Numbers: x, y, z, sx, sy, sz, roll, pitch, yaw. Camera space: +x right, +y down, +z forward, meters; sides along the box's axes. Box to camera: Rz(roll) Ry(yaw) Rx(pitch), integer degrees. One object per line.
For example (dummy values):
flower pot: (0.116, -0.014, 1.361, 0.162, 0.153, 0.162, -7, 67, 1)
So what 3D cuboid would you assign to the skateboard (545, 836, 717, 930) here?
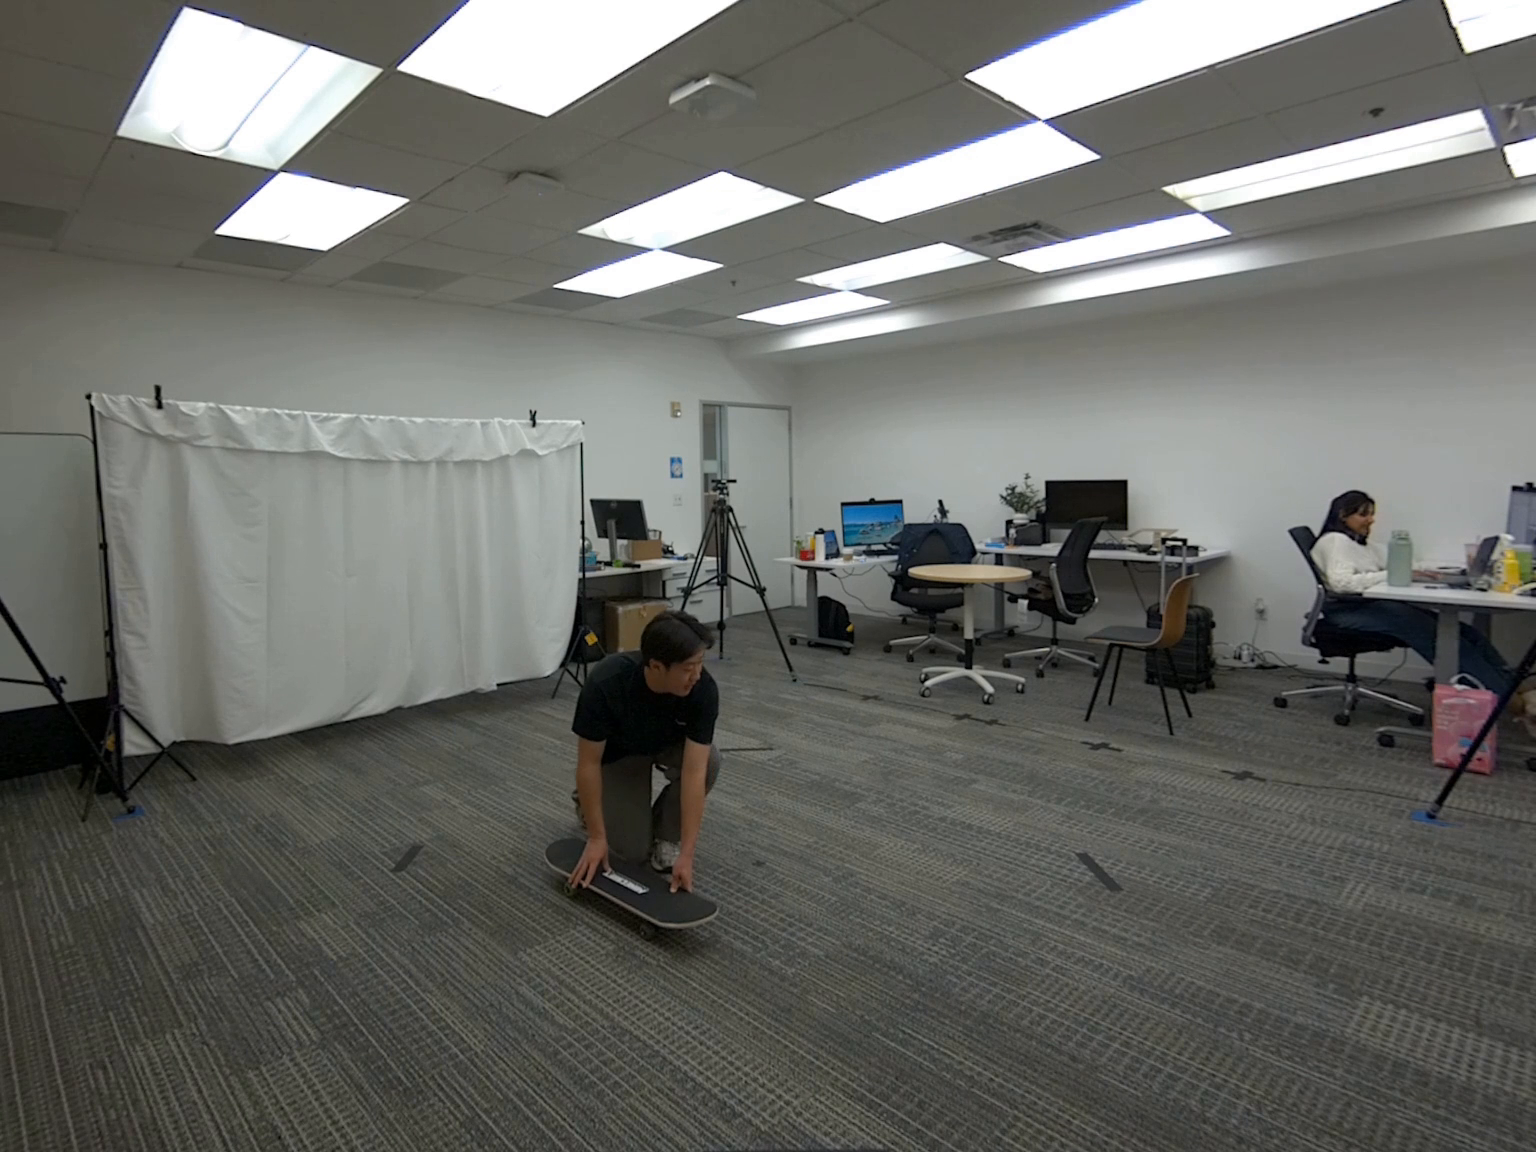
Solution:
skateboard: (-0.451, 1.034, 2.808, 0.810, 0.110, 0.189, 5, 10, 44)
